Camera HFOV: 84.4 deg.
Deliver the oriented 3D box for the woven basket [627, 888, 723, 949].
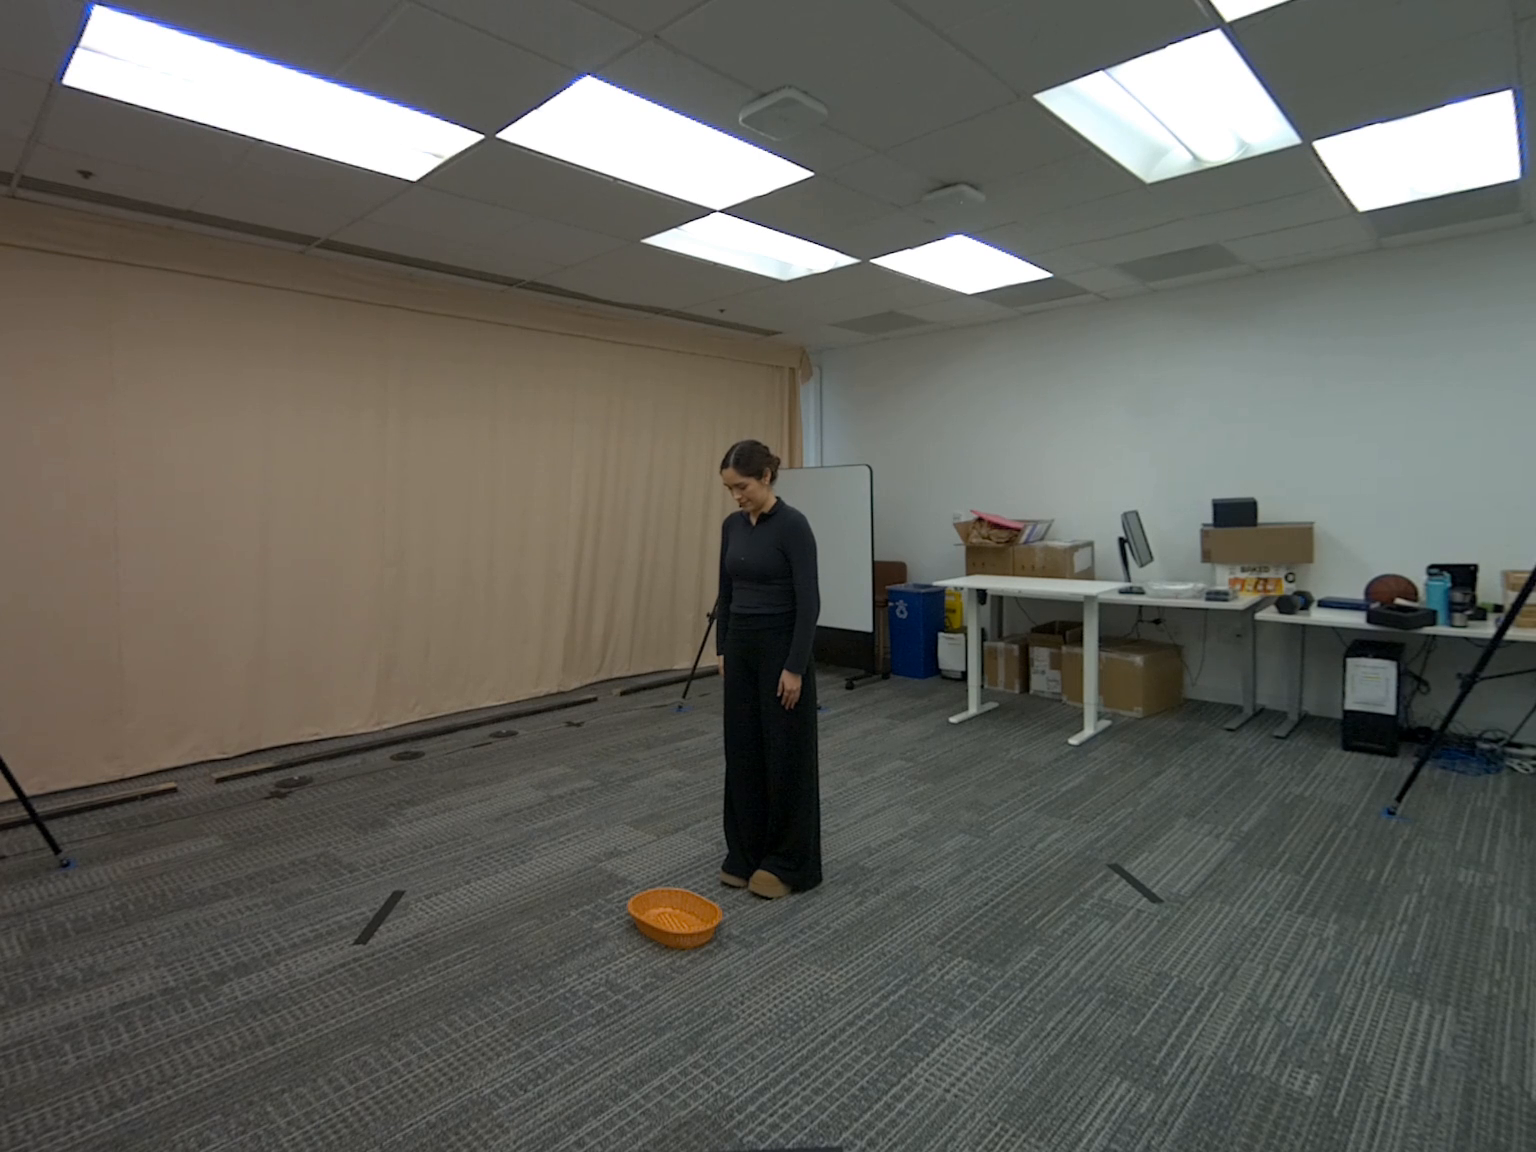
[{"bbox_3d":[-0.308,1.125,2.766,0.362,0.073,0.245,3,6,44],"label":"woven basket"}]
